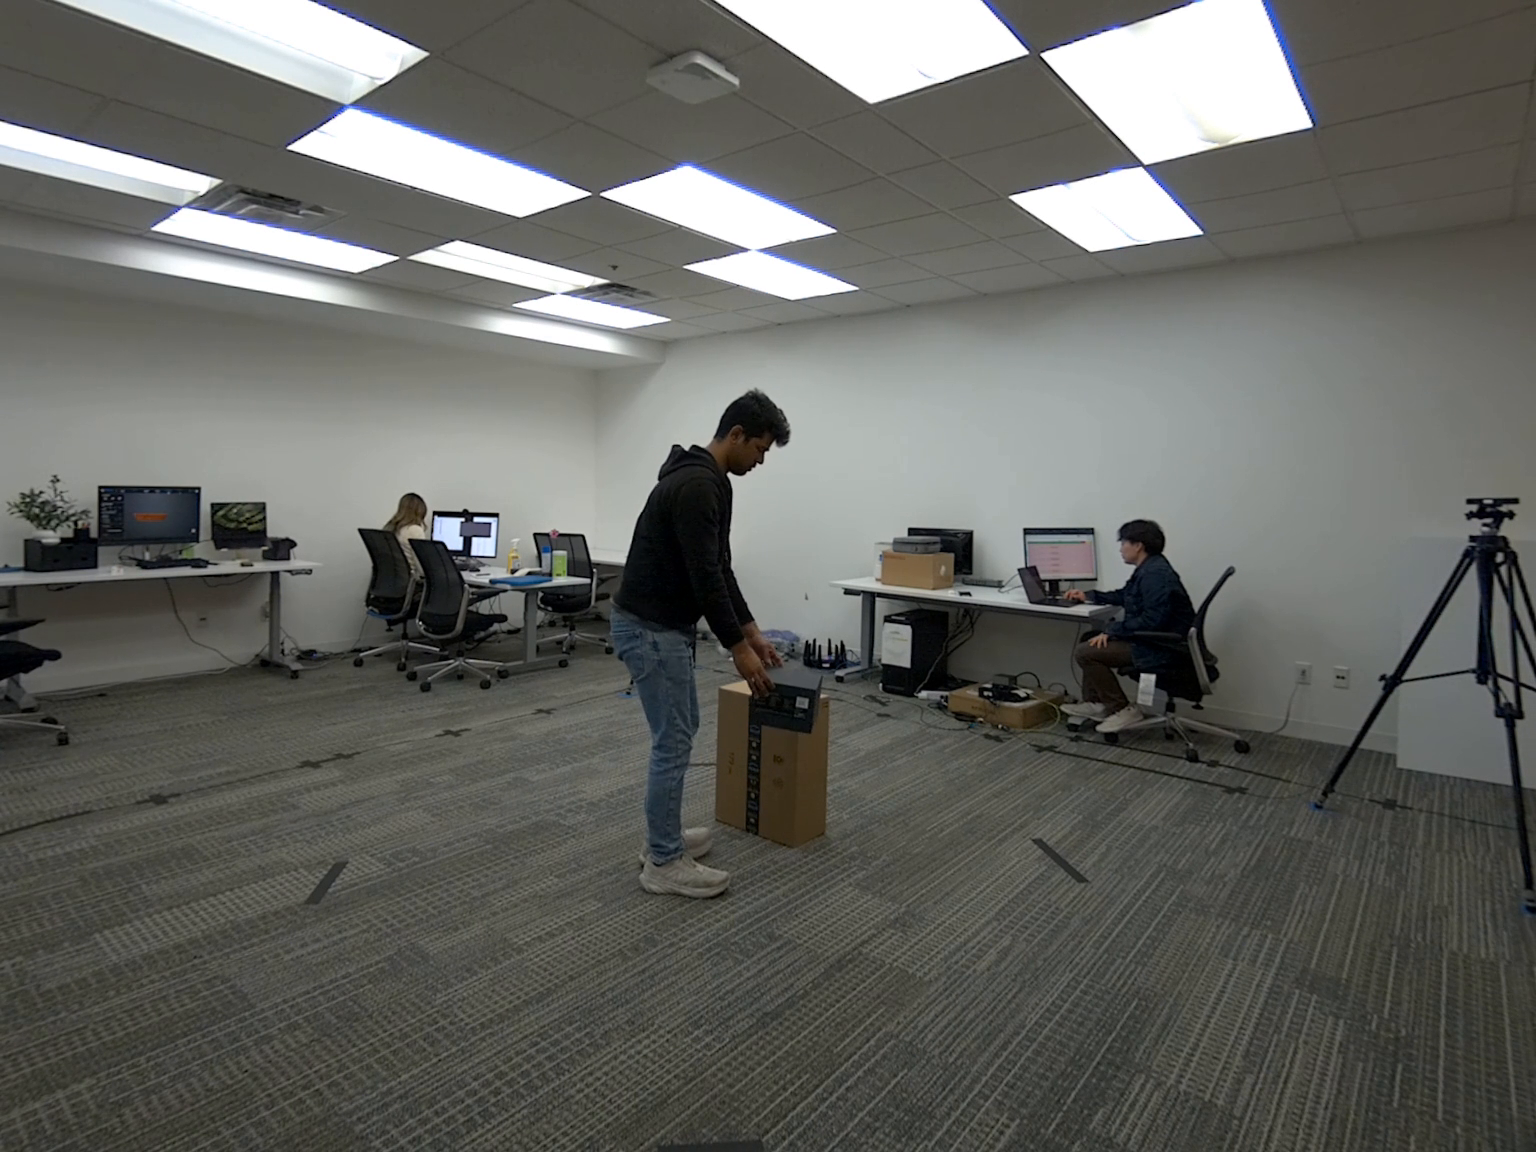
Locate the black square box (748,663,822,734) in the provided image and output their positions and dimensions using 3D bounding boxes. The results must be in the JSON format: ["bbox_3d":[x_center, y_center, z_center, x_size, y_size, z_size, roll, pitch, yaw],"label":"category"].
[{"bbox_3d":[0.060,0.439,2.966,0.220,0.155,0.226,7,7,9],"label":"black square box"}]
